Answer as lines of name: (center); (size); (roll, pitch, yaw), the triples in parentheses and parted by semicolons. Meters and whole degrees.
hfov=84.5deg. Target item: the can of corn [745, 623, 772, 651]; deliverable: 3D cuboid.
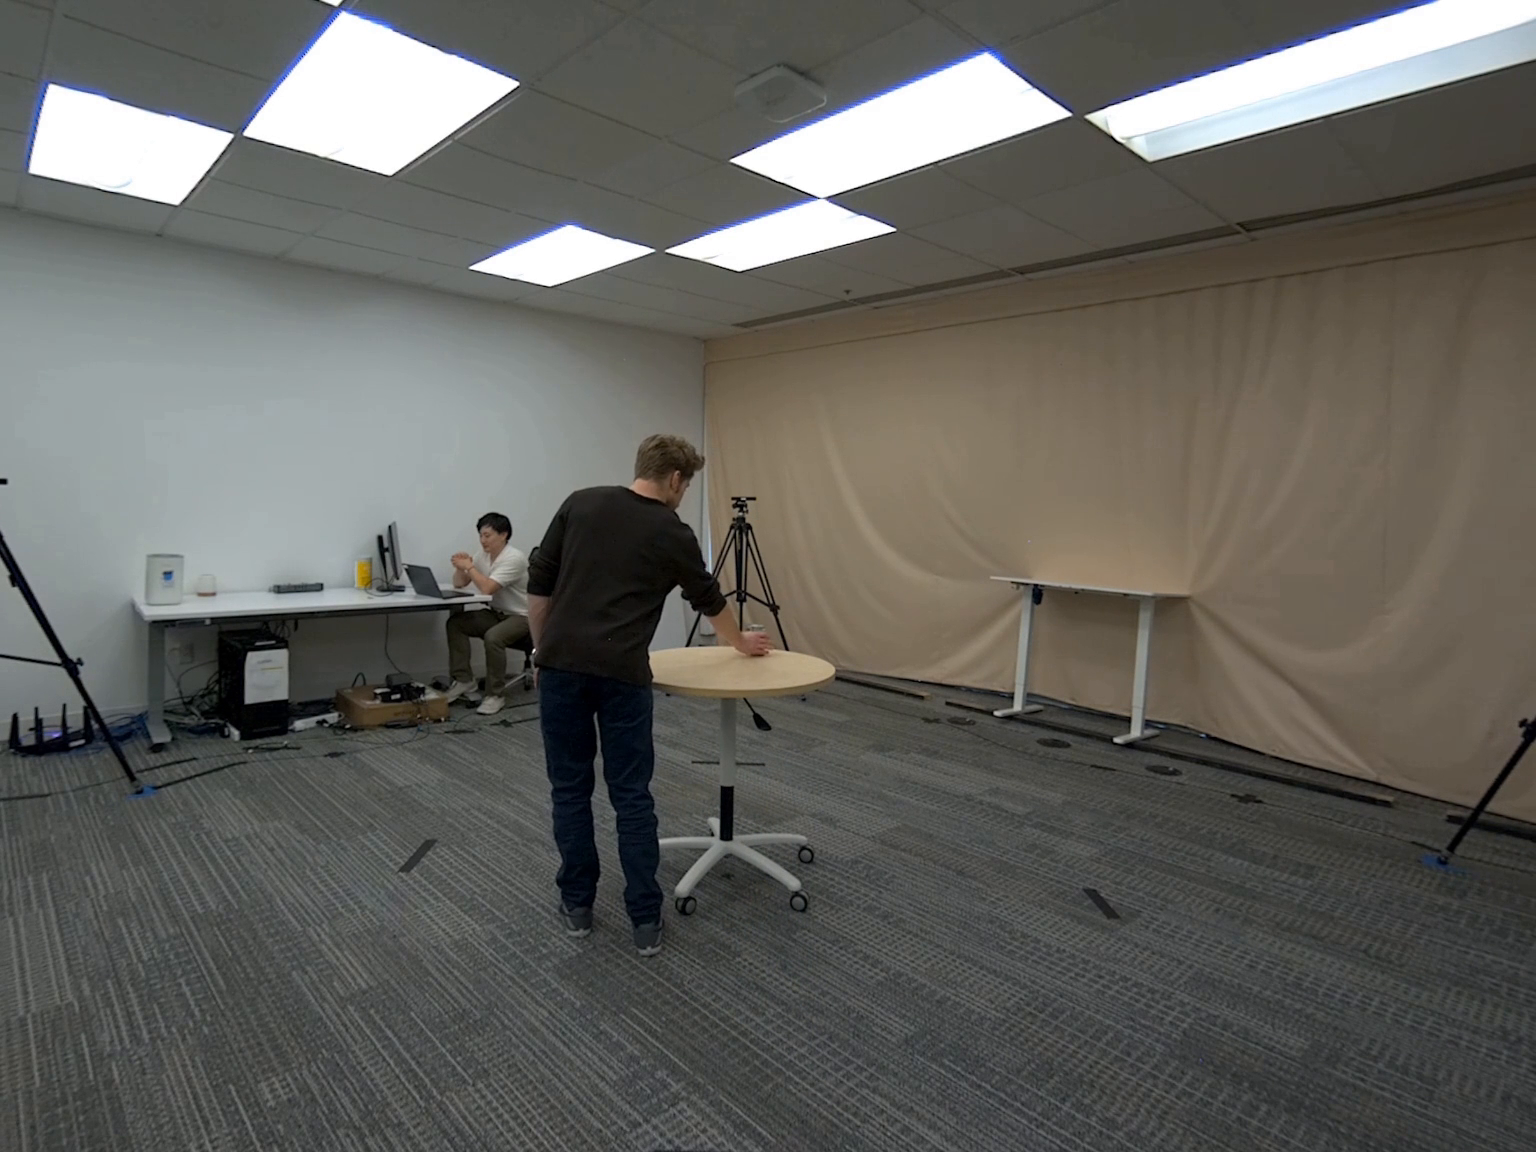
can of corn: (-0.058, 0.255, 3.281); (0.074, 0.110, 0.075); (6, 8, -2)
